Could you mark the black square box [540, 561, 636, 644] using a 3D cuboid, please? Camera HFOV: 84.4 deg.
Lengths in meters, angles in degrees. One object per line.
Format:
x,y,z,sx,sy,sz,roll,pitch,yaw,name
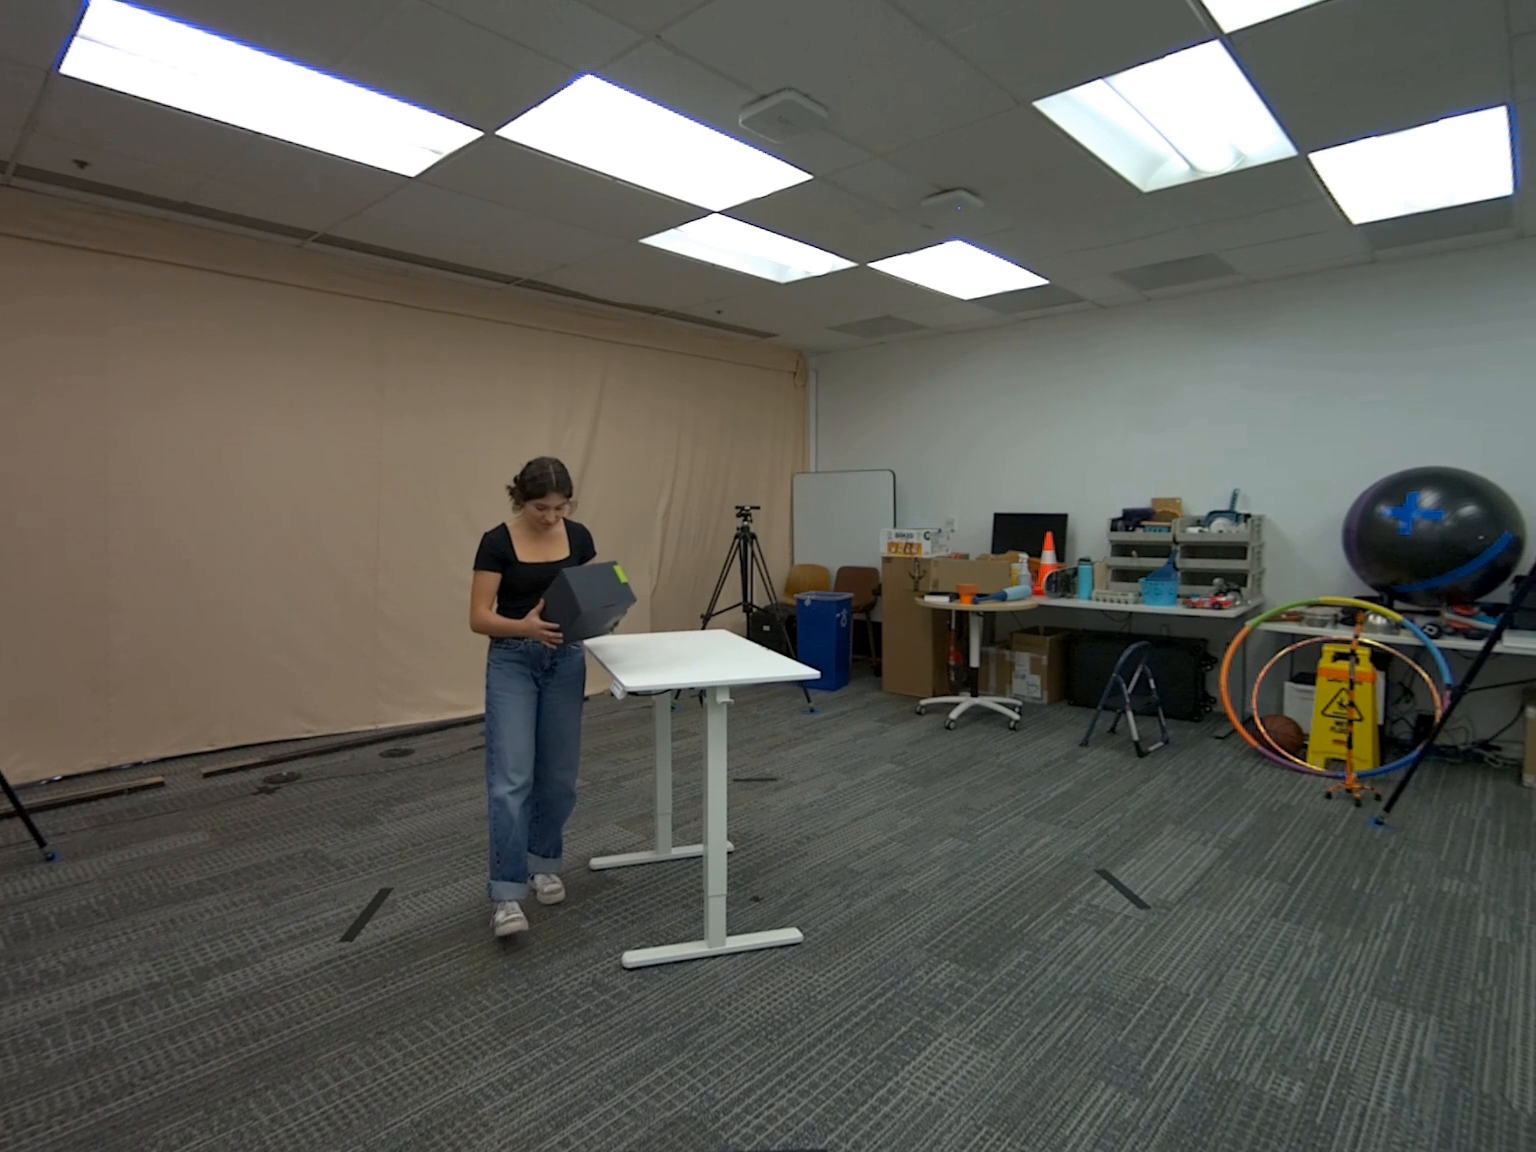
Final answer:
-0.587,0.091,2.689,0.211,0.159,0.230,-10,-27,-45,black square box
